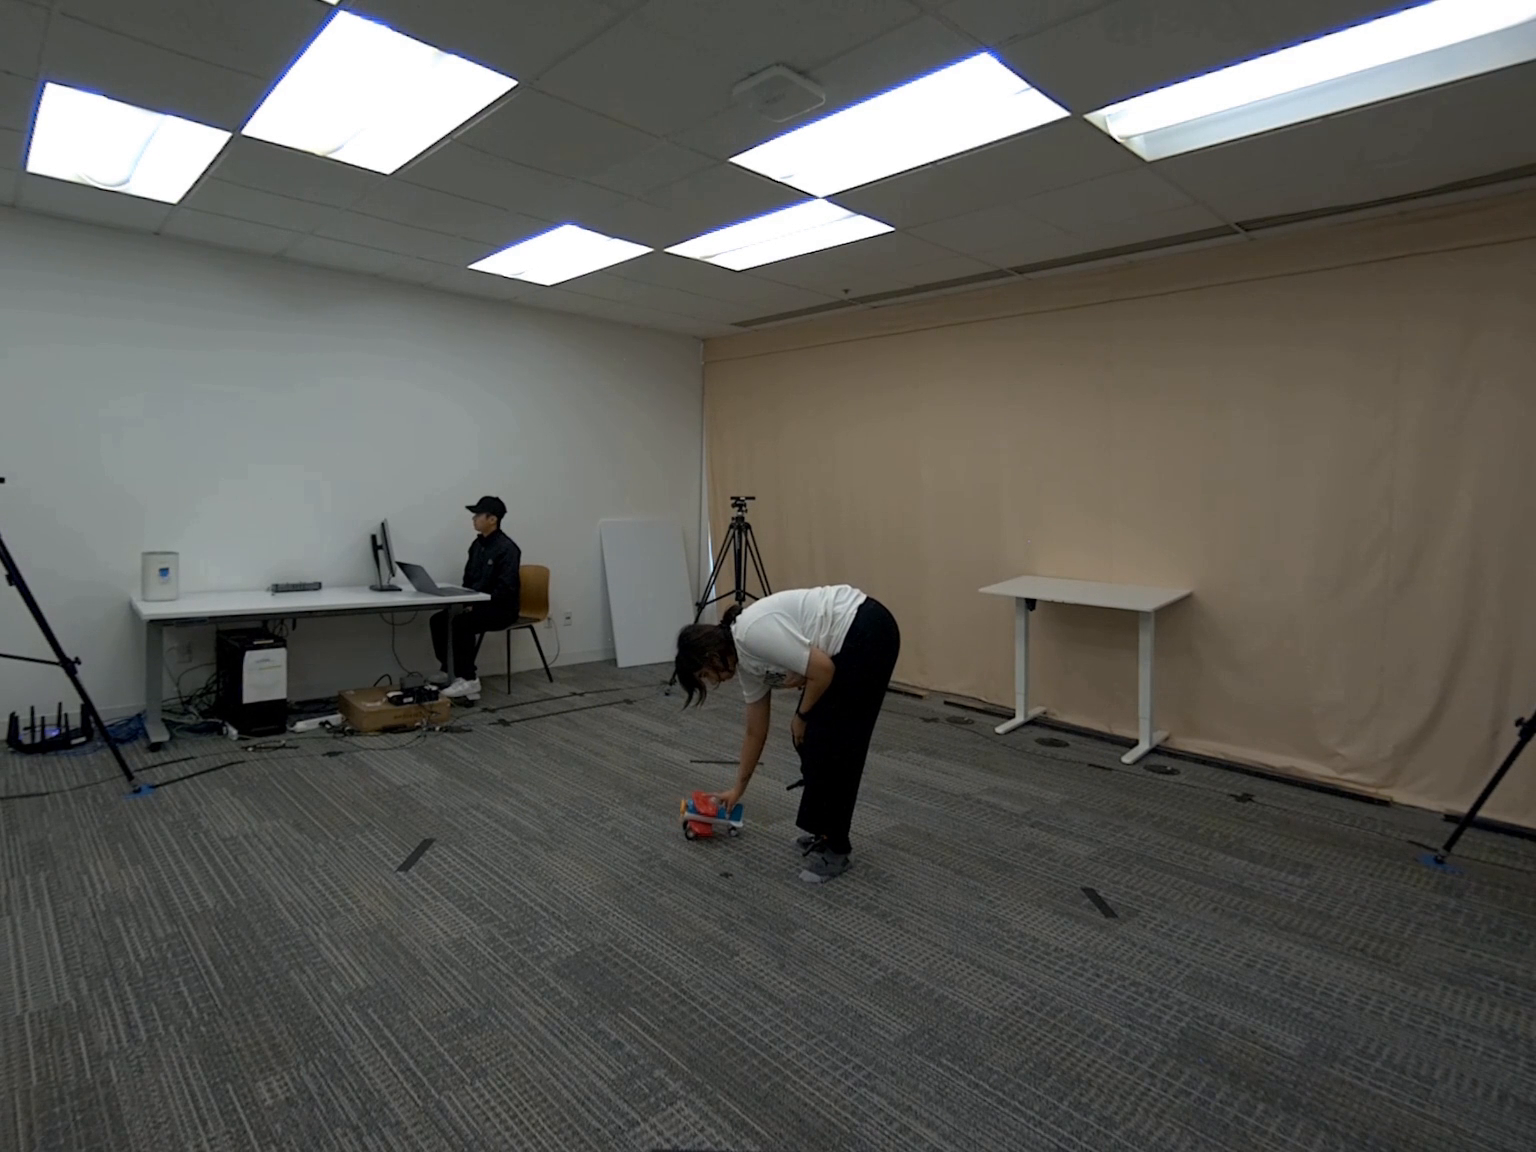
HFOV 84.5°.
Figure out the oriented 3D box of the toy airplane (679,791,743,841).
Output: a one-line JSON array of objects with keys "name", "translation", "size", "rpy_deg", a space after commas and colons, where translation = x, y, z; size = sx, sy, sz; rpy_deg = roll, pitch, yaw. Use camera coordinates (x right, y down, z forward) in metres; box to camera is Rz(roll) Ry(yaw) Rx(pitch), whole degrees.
[{"name": "toy airplane", "translation": [-0.246, 0.992, 3.489], "size": [0.253, 0.156, 0.257], "rpy_deg": [-2, 4, -36]}]
